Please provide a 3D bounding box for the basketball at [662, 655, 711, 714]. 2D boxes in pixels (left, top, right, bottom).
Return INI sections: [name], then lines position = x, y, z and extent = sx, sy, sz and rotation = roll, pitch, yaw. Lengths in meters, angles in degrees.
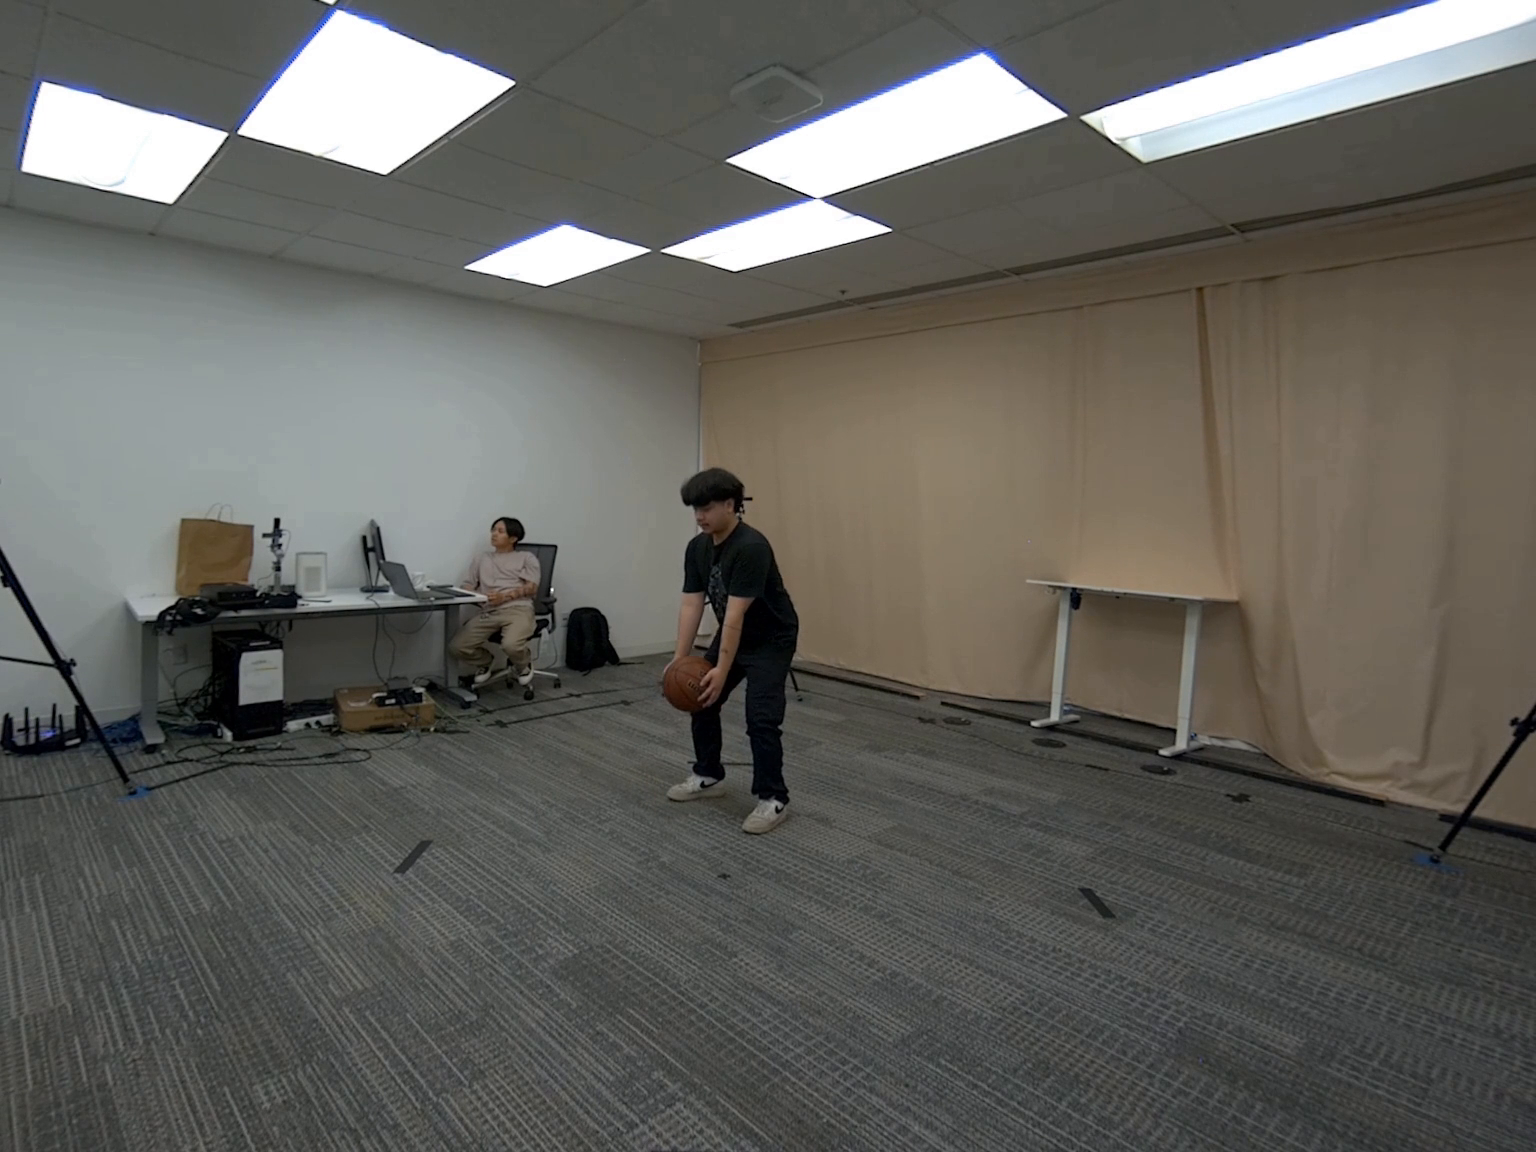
[basketball]
position = -0.350, 0.461, 3.579
extent = 0.236, 0.235, 0.237
rotation = 1, 4, -1
